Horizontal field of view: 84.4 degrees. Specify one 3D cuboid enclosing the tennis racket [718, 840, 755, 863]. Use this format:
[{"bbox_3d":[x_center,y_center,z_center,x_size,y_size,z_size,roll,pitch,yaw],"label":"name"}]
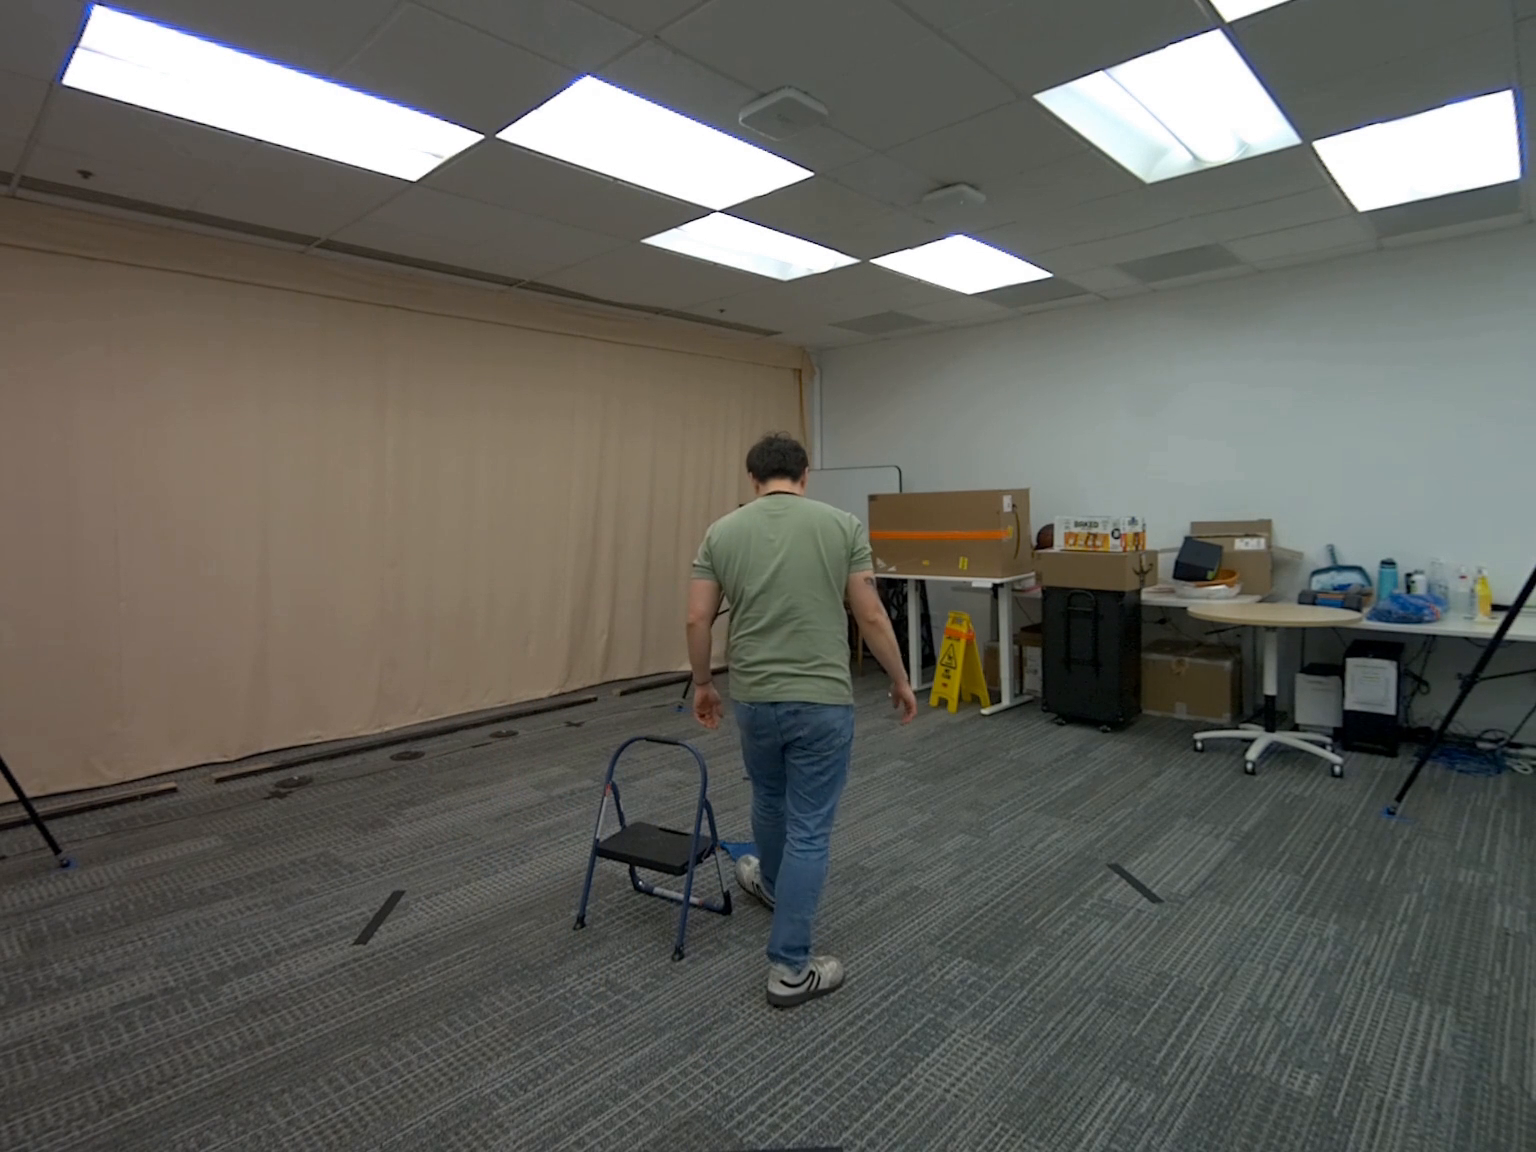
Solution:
[{"bbox_3d":[-0.089,1.092,3.363,0.446,0.031,0.208,4,6,34],"label":"tennis racket"}]
